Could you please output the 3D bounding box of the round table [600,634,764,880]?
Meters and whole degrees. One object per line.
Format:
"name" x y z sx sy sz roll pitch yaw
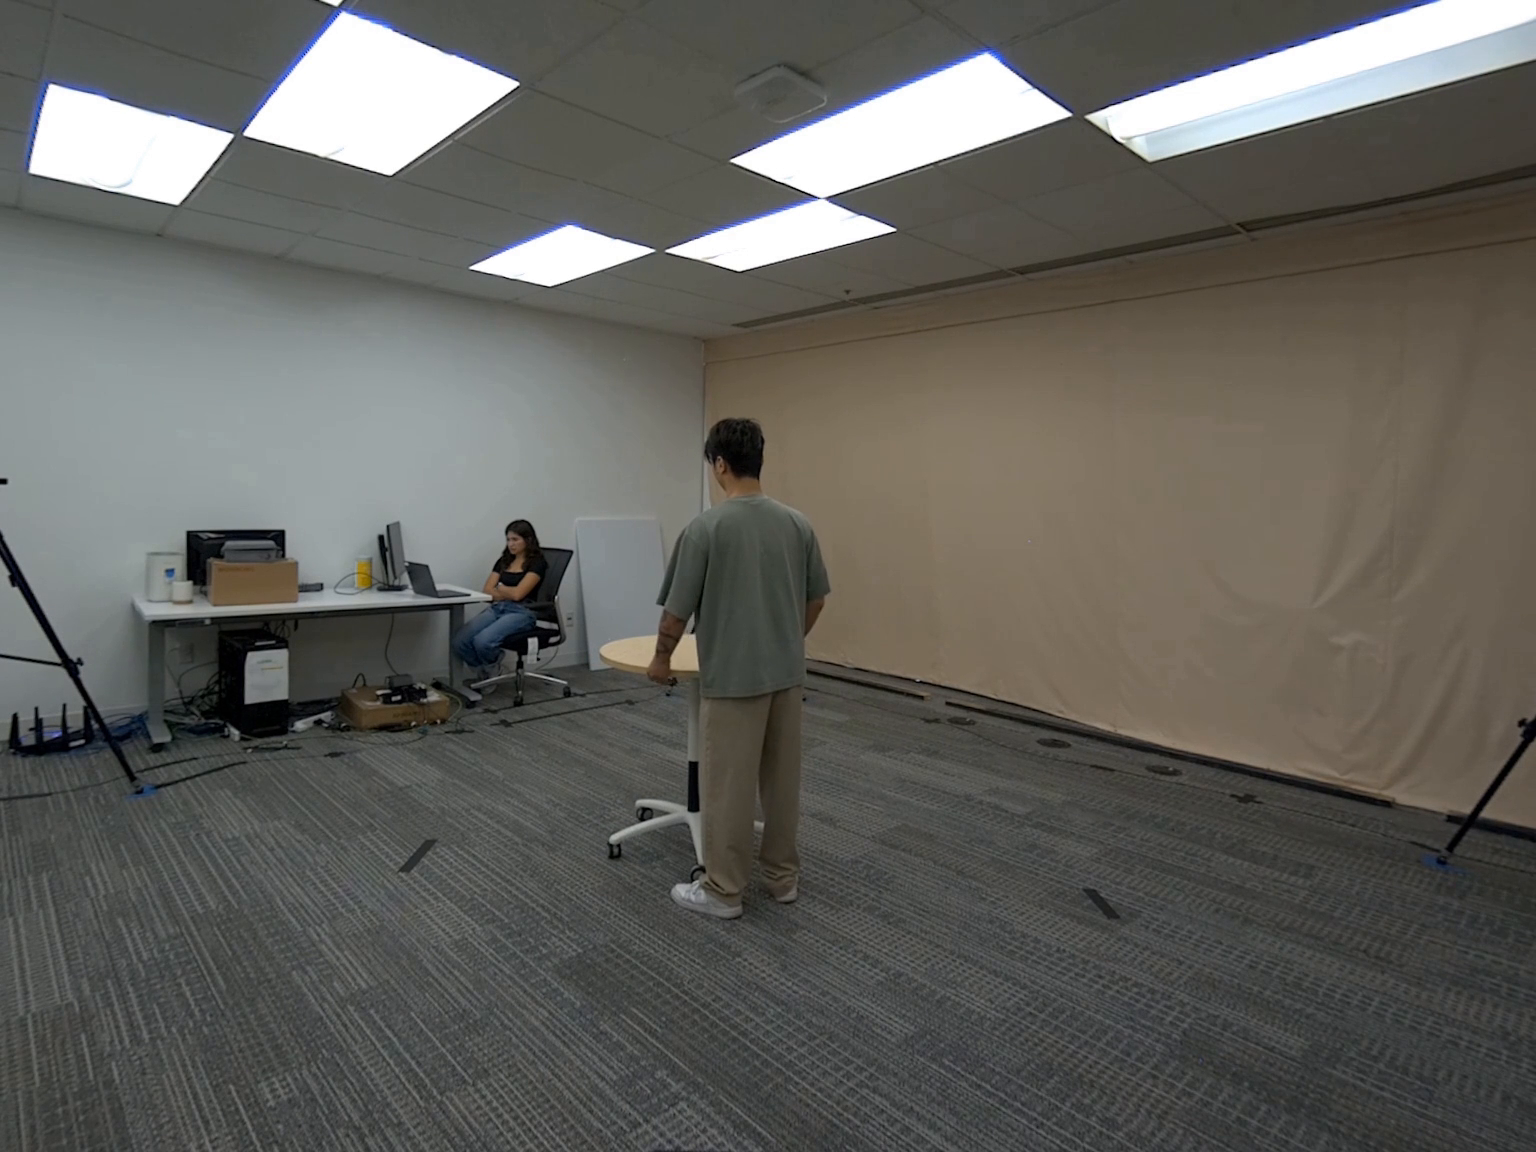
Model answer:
"round table" -0.307 0.686 3.374 0.784 0.784 0.788 2 4 -2
